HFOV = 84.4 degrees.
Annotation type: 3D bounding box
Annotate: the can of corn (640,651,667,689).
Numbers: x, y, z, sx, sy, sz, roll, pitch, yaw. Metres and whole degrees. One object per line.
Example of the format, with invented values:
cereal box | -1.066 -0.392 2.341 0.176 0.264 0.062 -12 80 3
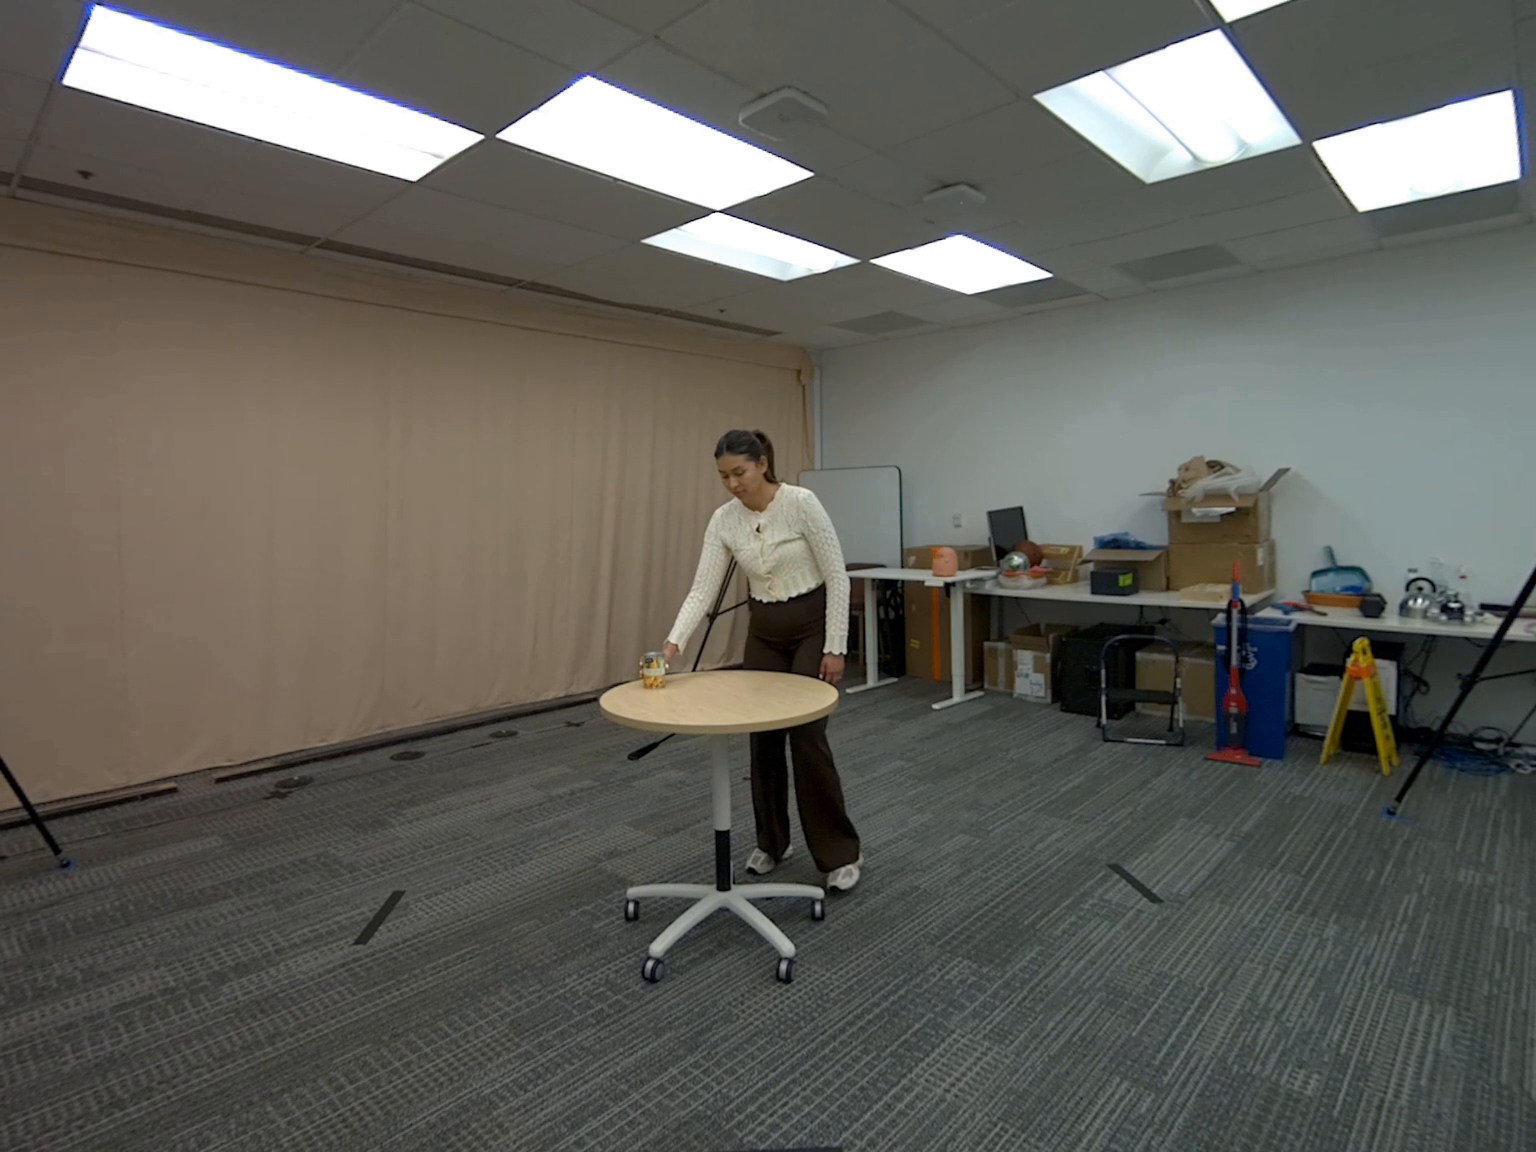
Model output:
can of corn | -0.391 0.323 2.857 0.074 0.111 0.074 -4 1 -2
